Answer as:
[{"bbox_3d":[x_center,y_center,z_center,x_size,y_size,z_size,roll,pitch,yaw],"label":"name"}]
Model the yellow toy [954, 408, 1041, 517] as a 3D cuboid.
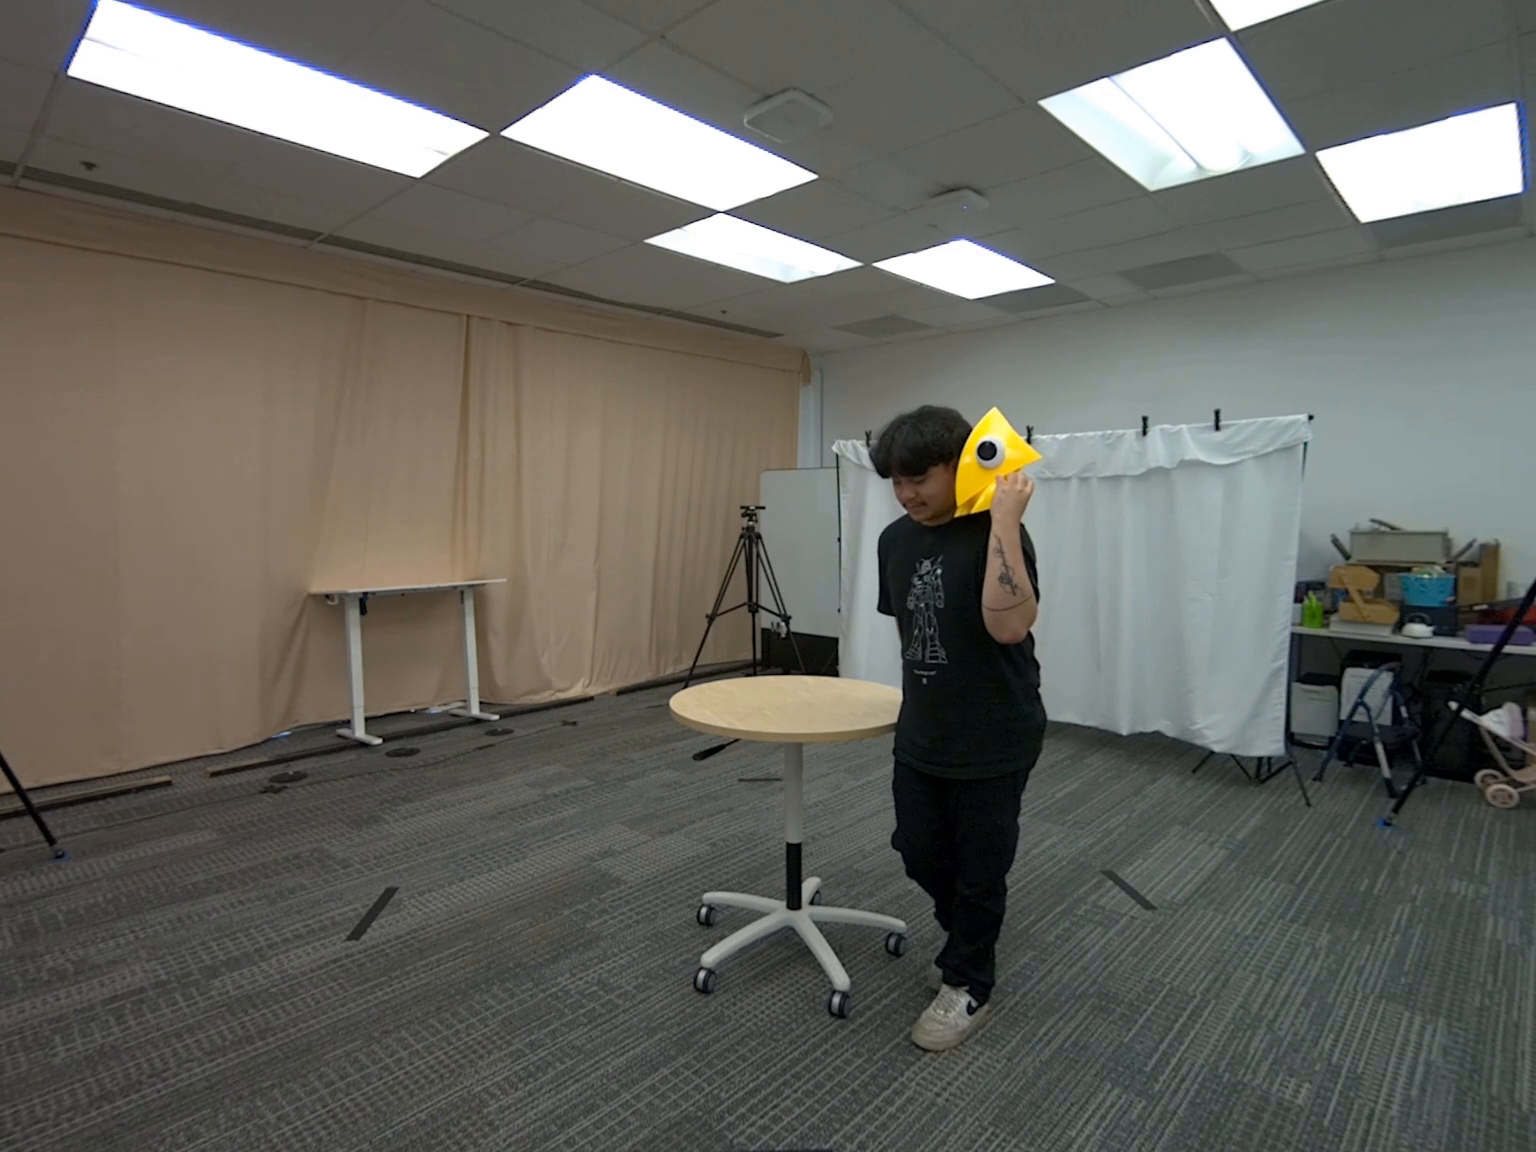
[{"bbox_3d":[0.534,-0.281,2.025,0.192,0.231,0.205,-15,0,-6],"label":"yellow toy"}]
